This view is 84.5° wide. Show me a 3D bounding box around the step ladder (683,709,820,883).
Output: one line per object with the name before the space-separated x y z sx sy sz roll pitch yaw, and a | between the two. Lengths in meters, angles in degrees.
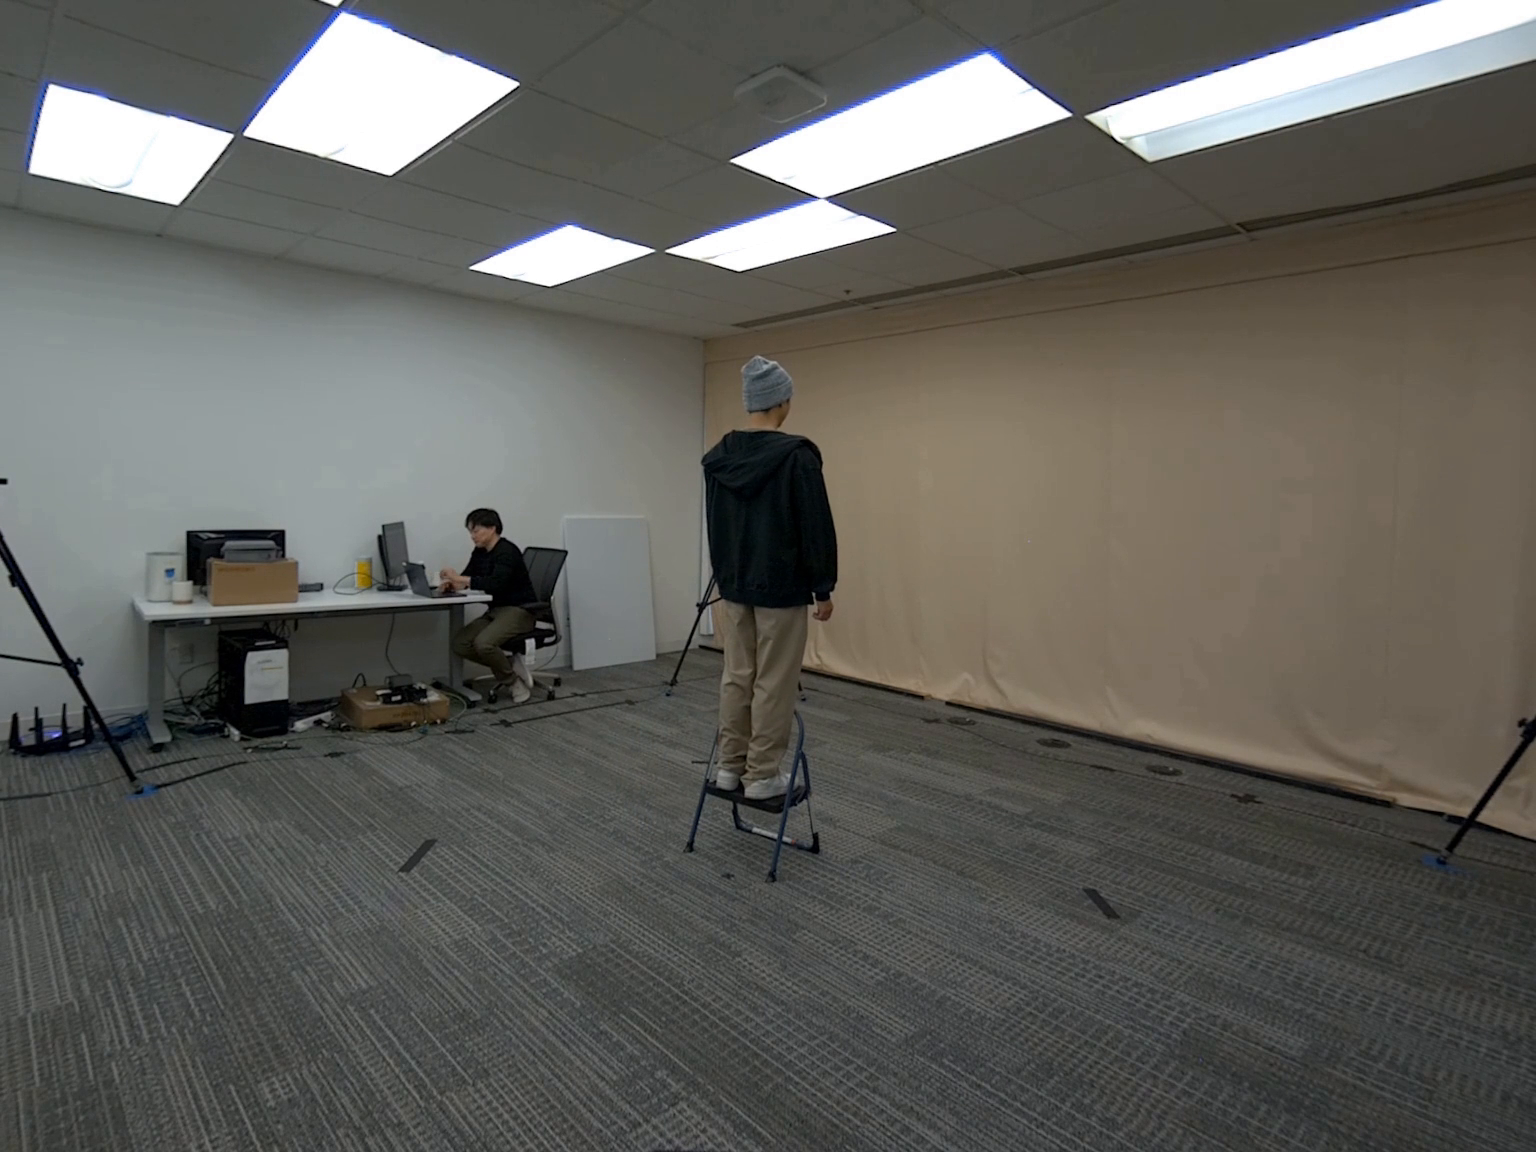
step ladder | -0.054 0.788 3.308 0.441 0.605 0.341 4 3 36
